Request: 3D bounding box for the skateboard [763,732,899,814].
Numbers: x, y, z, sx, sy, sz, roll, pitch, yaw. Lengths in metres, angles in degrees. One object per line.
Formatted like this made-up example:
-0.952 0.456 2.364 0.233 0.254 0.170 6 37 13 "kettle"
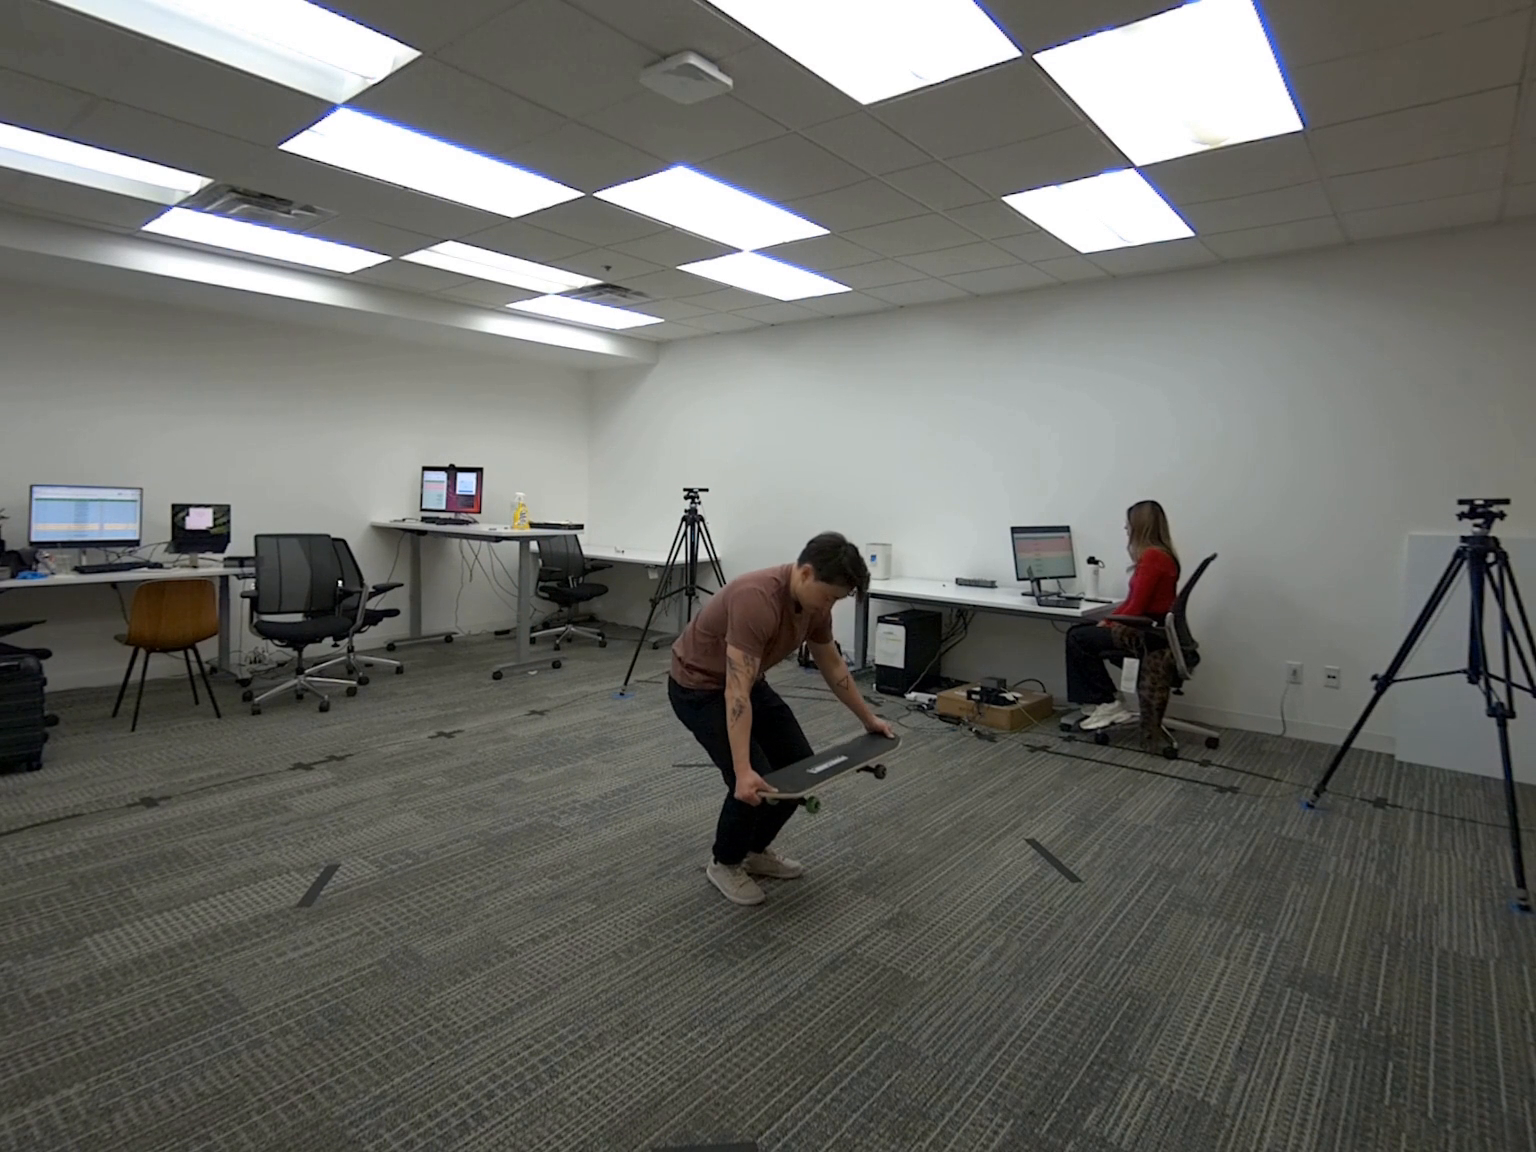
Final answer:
0.197 0.656 2.800 0.200 0.110 0.763 3 6 39 "skateboard"
